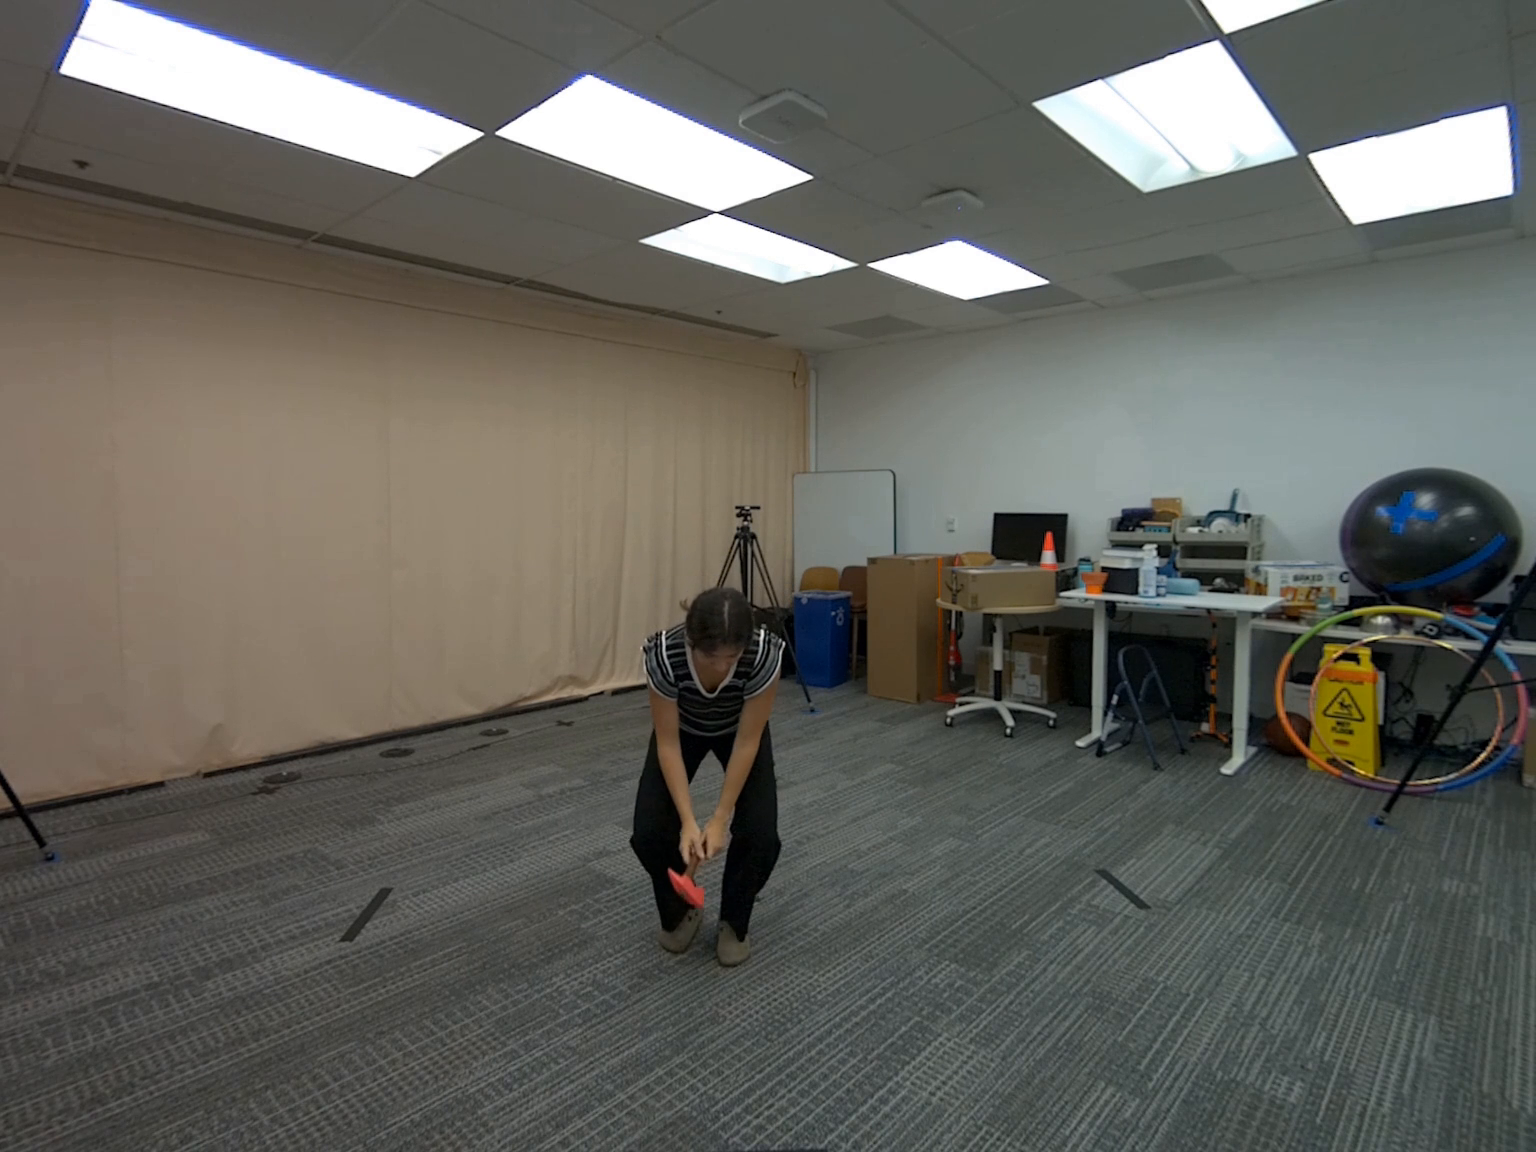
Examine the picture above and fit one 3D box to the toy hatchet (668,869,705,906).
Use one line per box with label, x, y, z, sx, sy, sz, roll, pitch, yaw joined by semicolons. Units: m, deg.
toy hatchet;-0.197;0.804;2.358;0.132;0.029;0.270;-7;10;5
